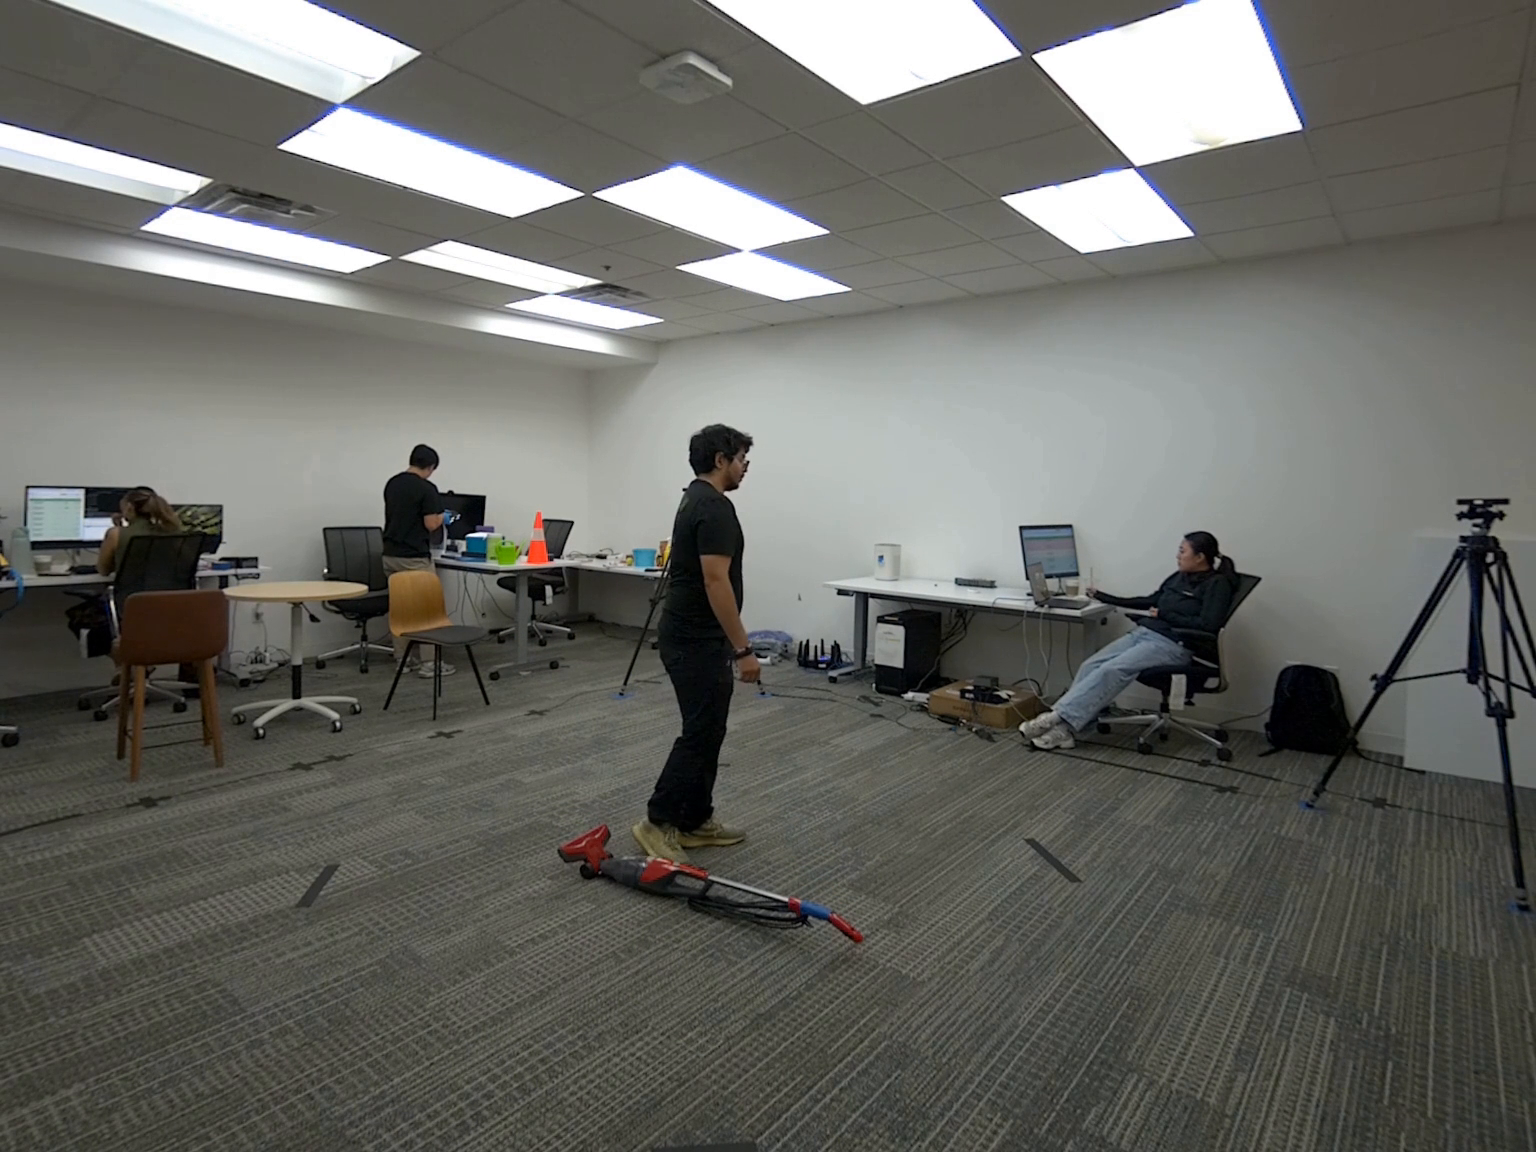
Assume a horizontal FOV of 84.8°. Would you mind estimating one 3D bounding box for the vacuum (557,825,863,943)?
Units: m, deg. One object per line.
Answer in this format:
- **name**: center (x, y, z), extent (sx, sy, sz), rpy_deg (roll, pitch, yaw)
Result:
- **vacuum**: center (-0.198, 1.039, 2.801), extent (1.081, 0.143, 0.246), rpy_deg (5, 7, 31)
